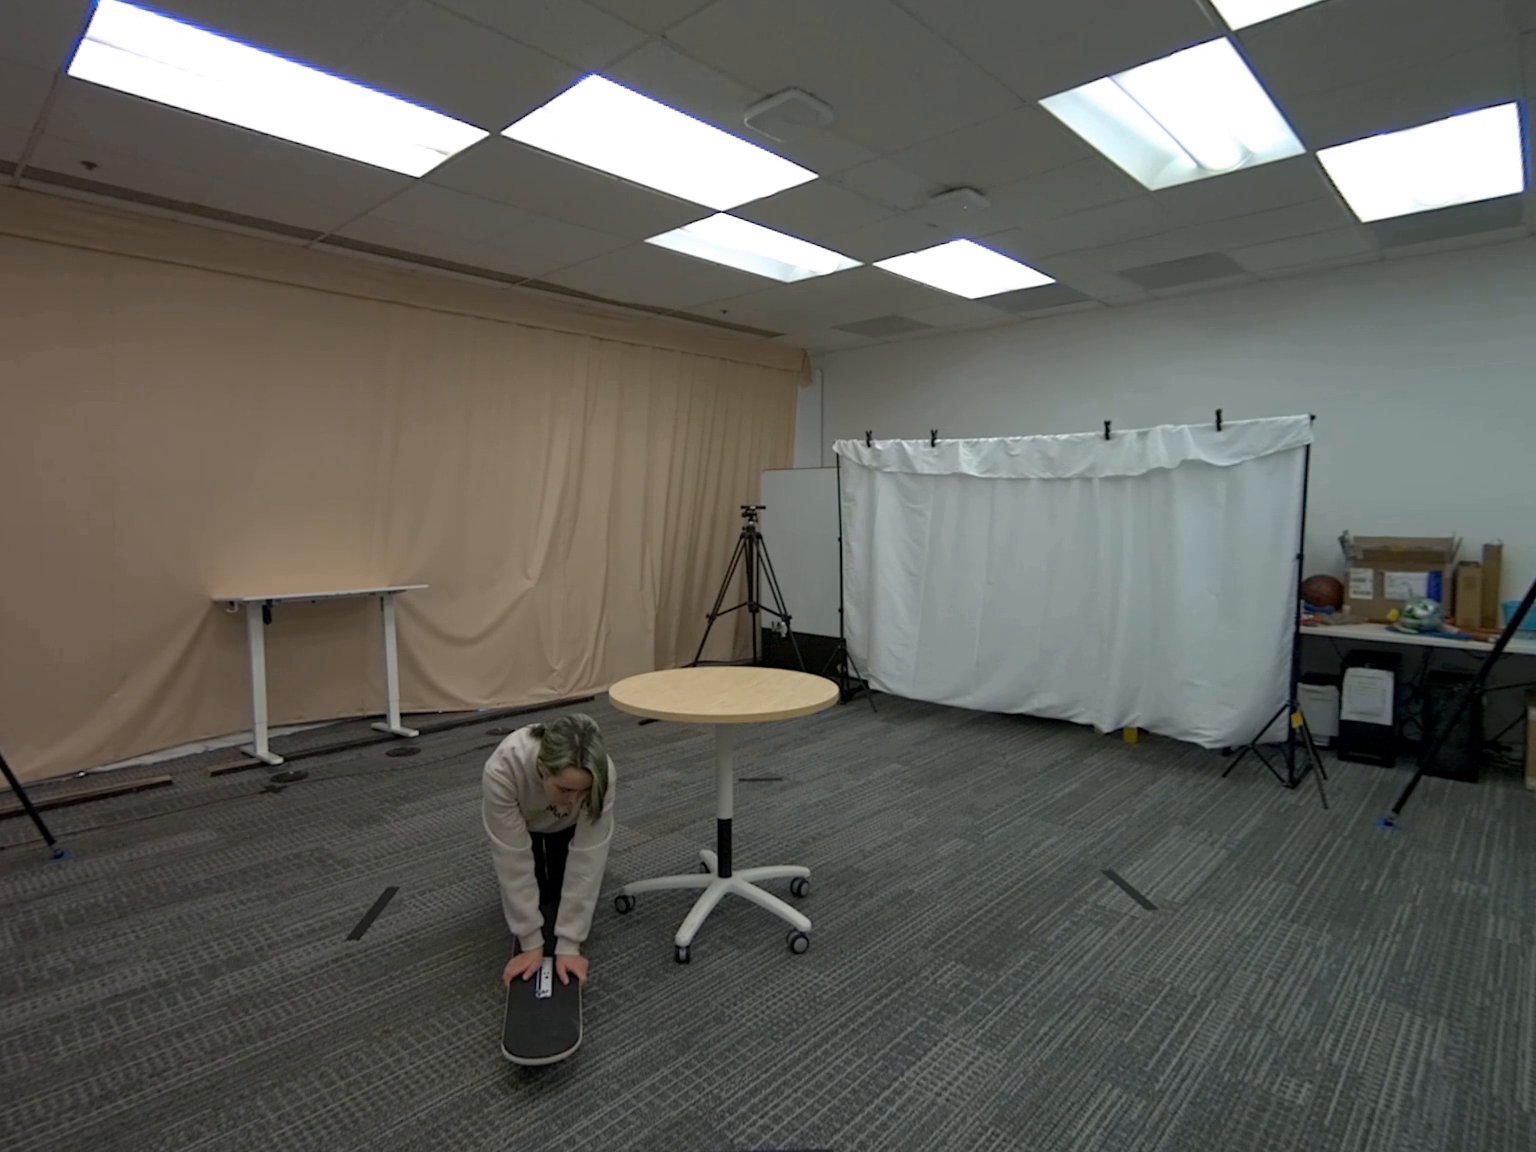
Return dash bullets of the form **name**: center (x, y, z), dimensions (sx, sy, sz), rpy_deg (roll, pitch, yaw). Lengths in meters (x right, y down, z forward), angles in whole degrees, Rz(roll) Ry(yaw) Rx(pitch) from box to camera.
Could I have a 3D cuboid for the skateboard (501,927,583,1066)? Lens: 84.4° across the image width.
- **skateboard**: center (-0.618, 1.141, 2.344), dimensions (0.191, 0.110, 0.796), rpy_deg (-2, 4, -12)
